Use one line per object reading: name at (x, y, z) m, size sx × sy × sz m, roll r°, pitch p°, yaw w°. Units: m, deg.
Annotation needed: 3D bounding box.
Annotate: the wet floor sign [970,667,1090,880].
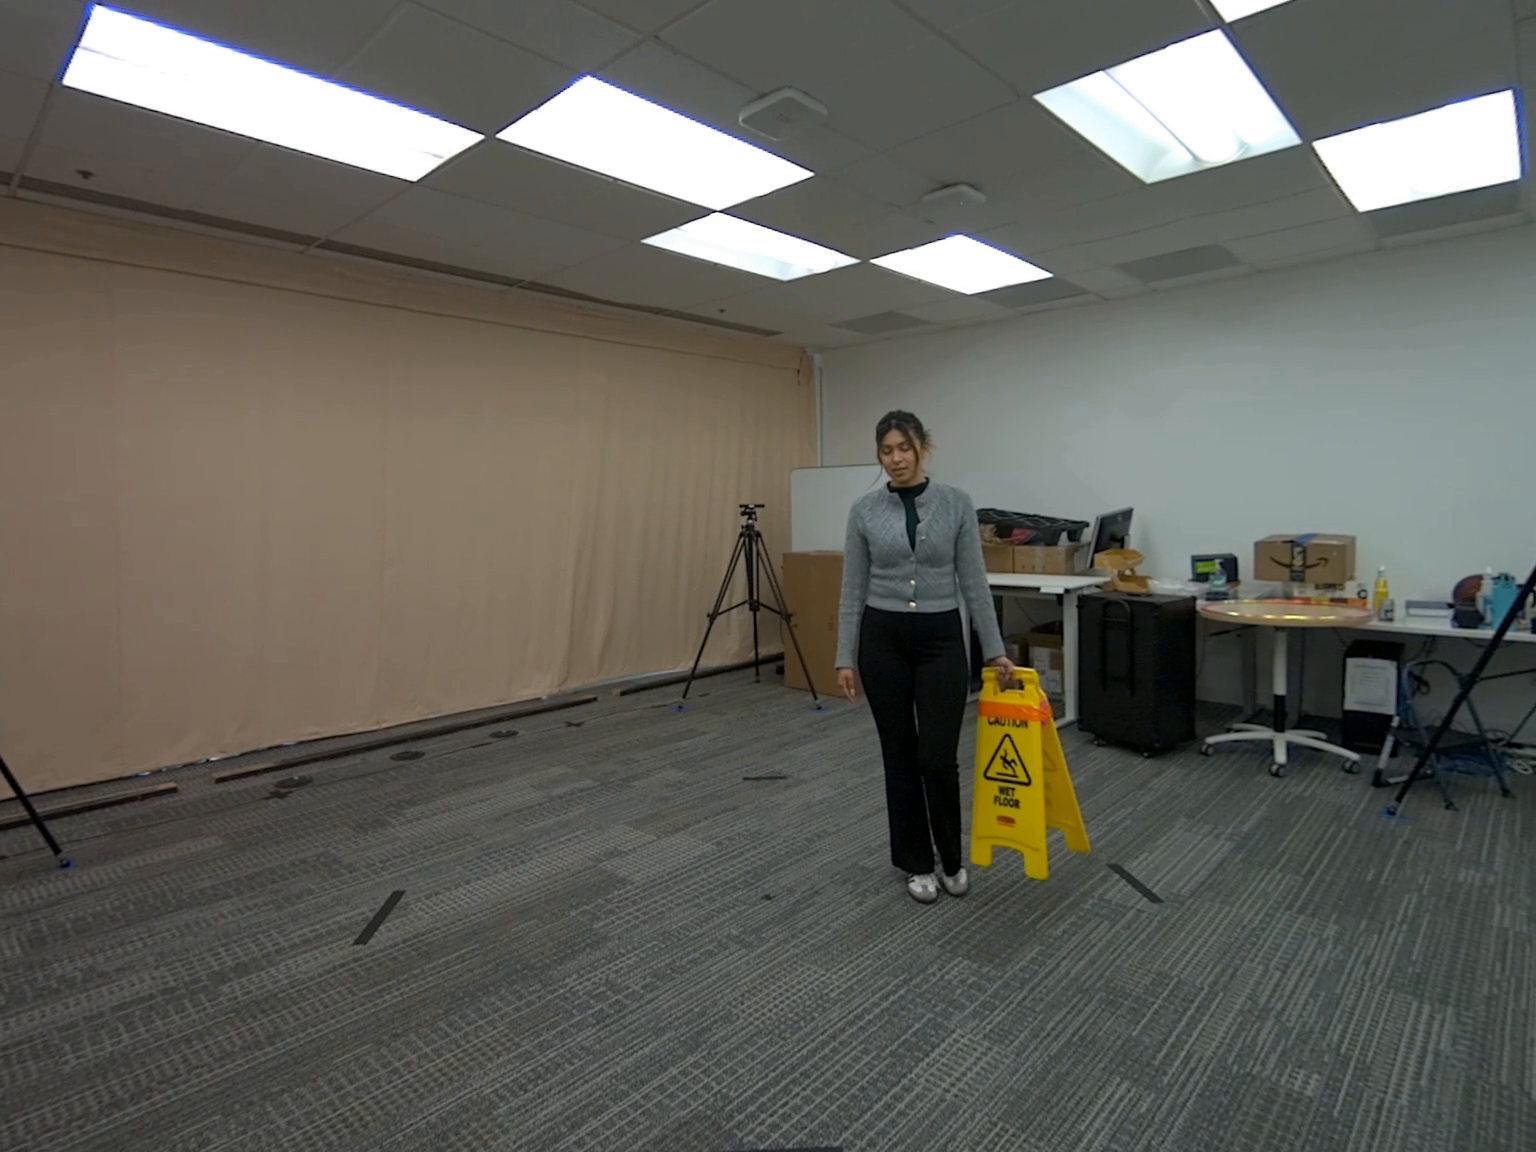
wet floor sign at (0.861, 0.635, 2.850) m, size 0.281 × 0.646 × 0.290 m, roll -7°, pitch -1°, yaw -42°
